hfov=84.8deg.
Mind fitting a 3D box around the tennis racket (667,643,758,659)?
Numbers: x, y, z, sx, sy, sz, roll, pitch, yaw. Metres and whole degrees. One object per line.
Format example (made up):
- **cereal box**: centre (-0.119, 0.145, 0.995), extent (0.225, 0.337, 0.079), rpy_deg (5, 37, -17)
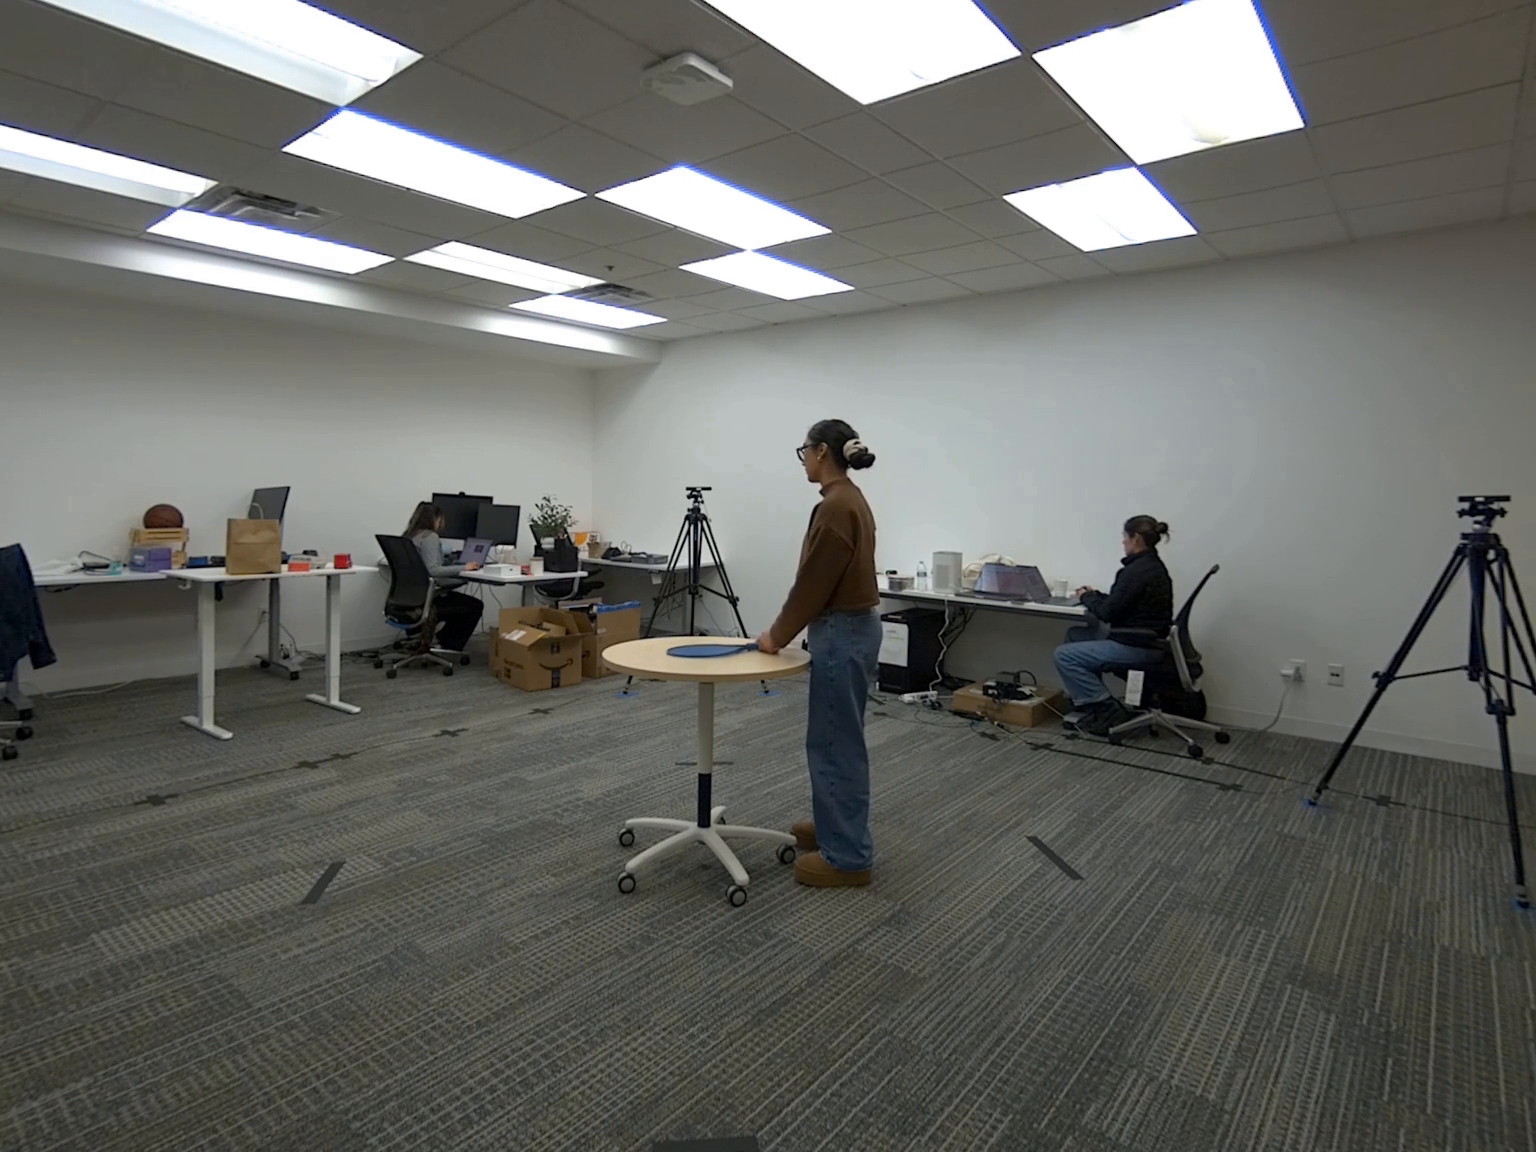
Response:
- **tennis racket**: centre (-0.176, 0.272, 3.173), extent (0.425, 0.031, 0.219), rpy_deg (-4, 6, -20)
